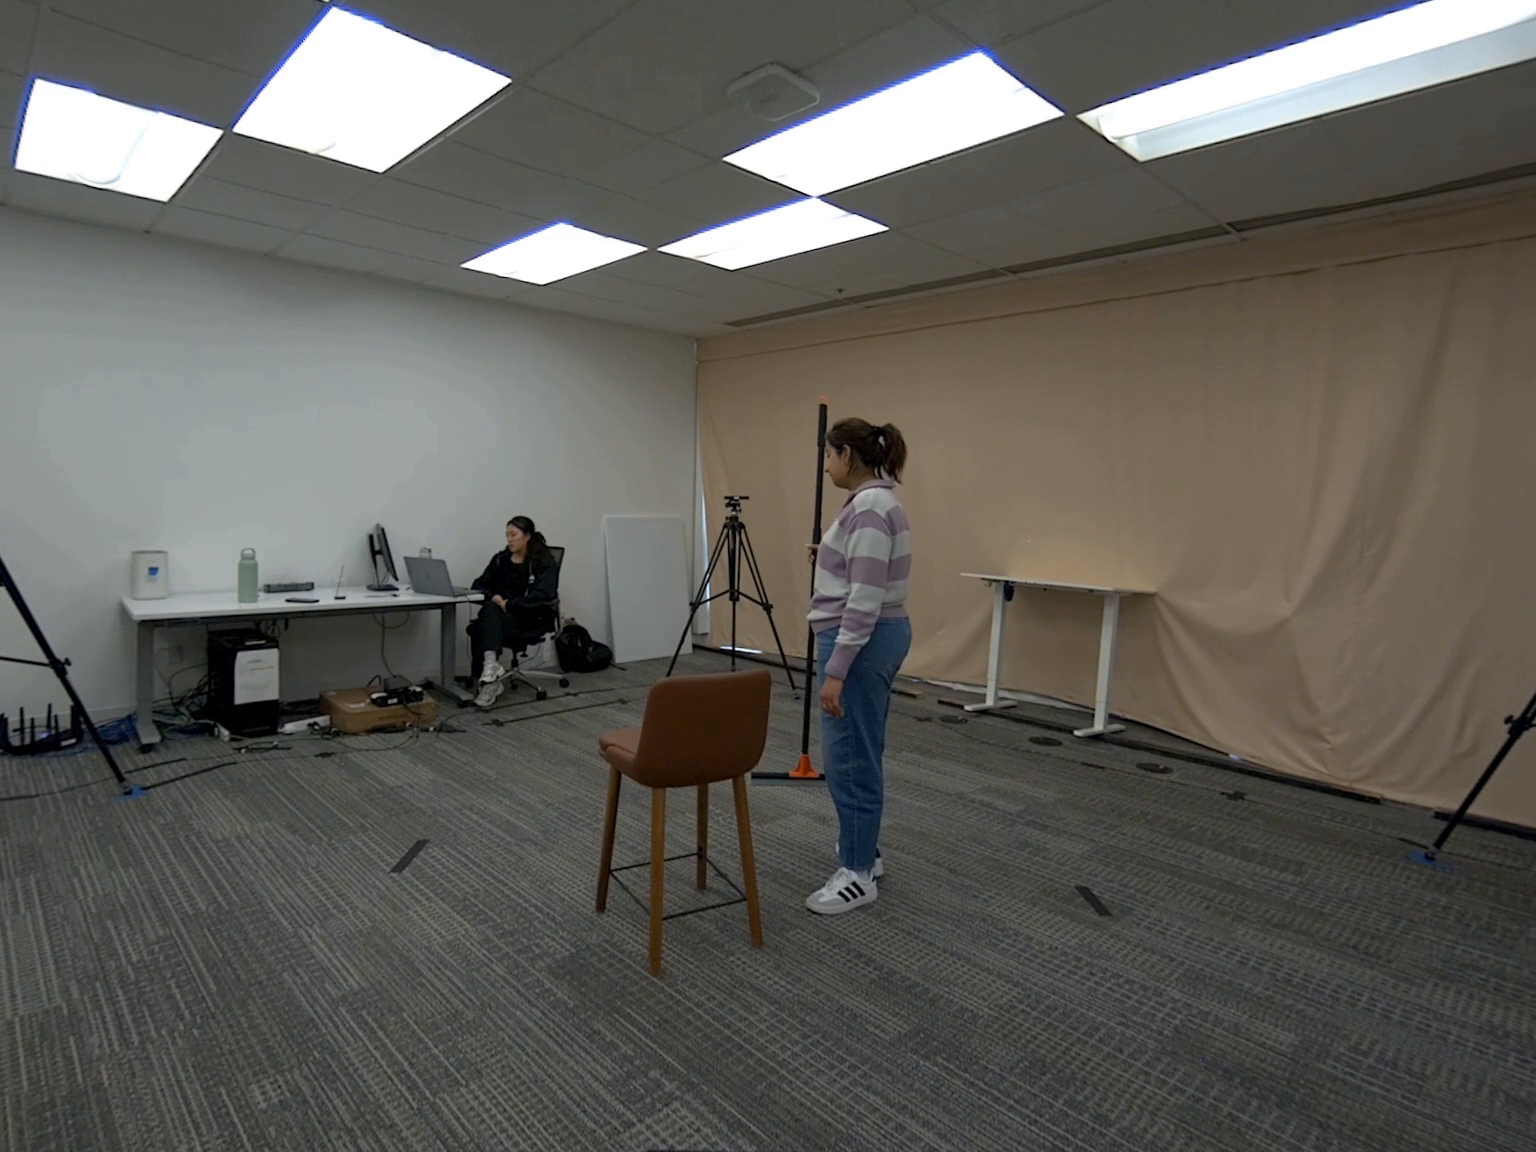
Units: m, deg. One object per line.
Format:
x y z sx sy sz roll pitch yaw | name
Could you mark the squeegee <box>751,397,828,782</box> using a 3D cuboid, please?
0.166 0.079 3.336 0.436 1.531 0.053 1 6 -4 | squeegee
